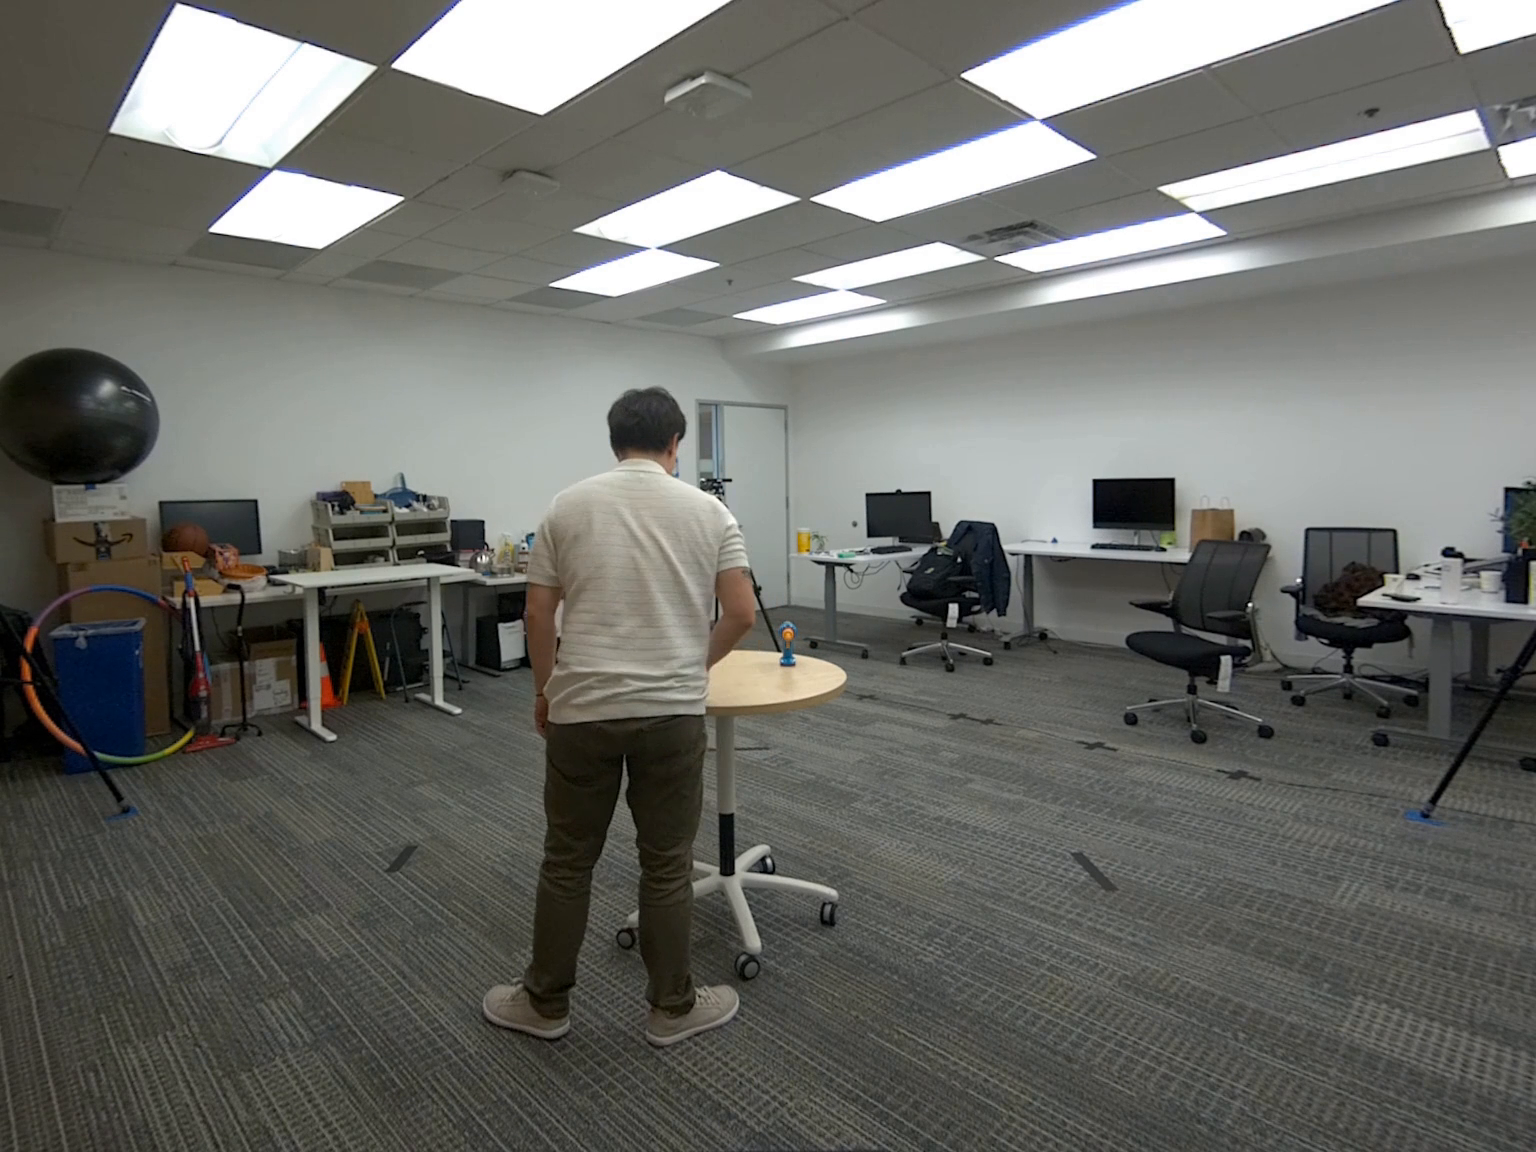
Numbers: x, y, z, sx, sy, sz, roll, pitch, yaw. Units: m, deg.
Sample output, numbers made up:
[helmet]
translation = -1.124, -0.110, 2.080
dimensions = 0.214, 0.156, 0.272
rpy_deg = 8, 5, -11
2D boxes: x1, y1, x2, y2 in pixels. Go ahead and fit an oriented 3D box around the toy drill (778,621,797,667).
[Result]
[toy drill]
translation = 0.069, 0.222, 2.772
dimensions = 0.061, 0.145, 0.170
rpy_deg = 1, 4, -3
